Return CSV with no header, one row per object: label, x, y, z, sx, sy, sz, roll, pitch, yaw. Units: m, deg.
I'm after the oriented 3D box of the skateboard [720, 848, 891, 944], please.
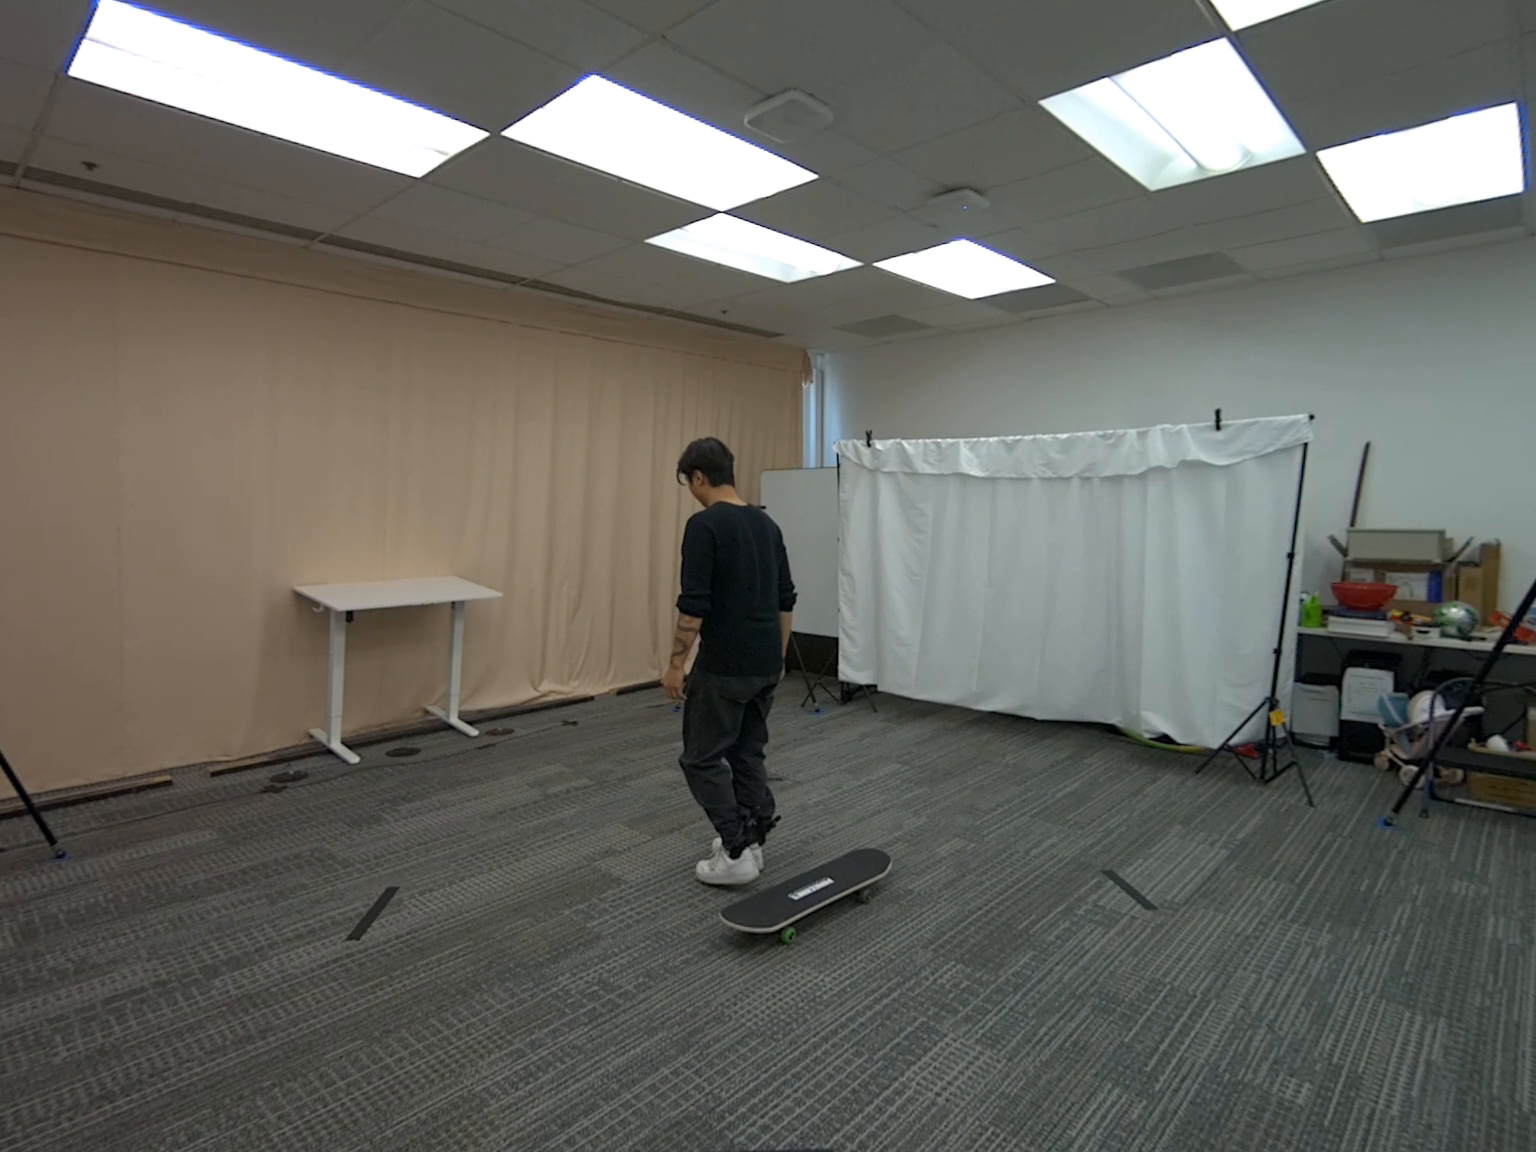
skateboard,0.145,1.095,2.866,0.761,0.110,0.200,-5,7,-44
